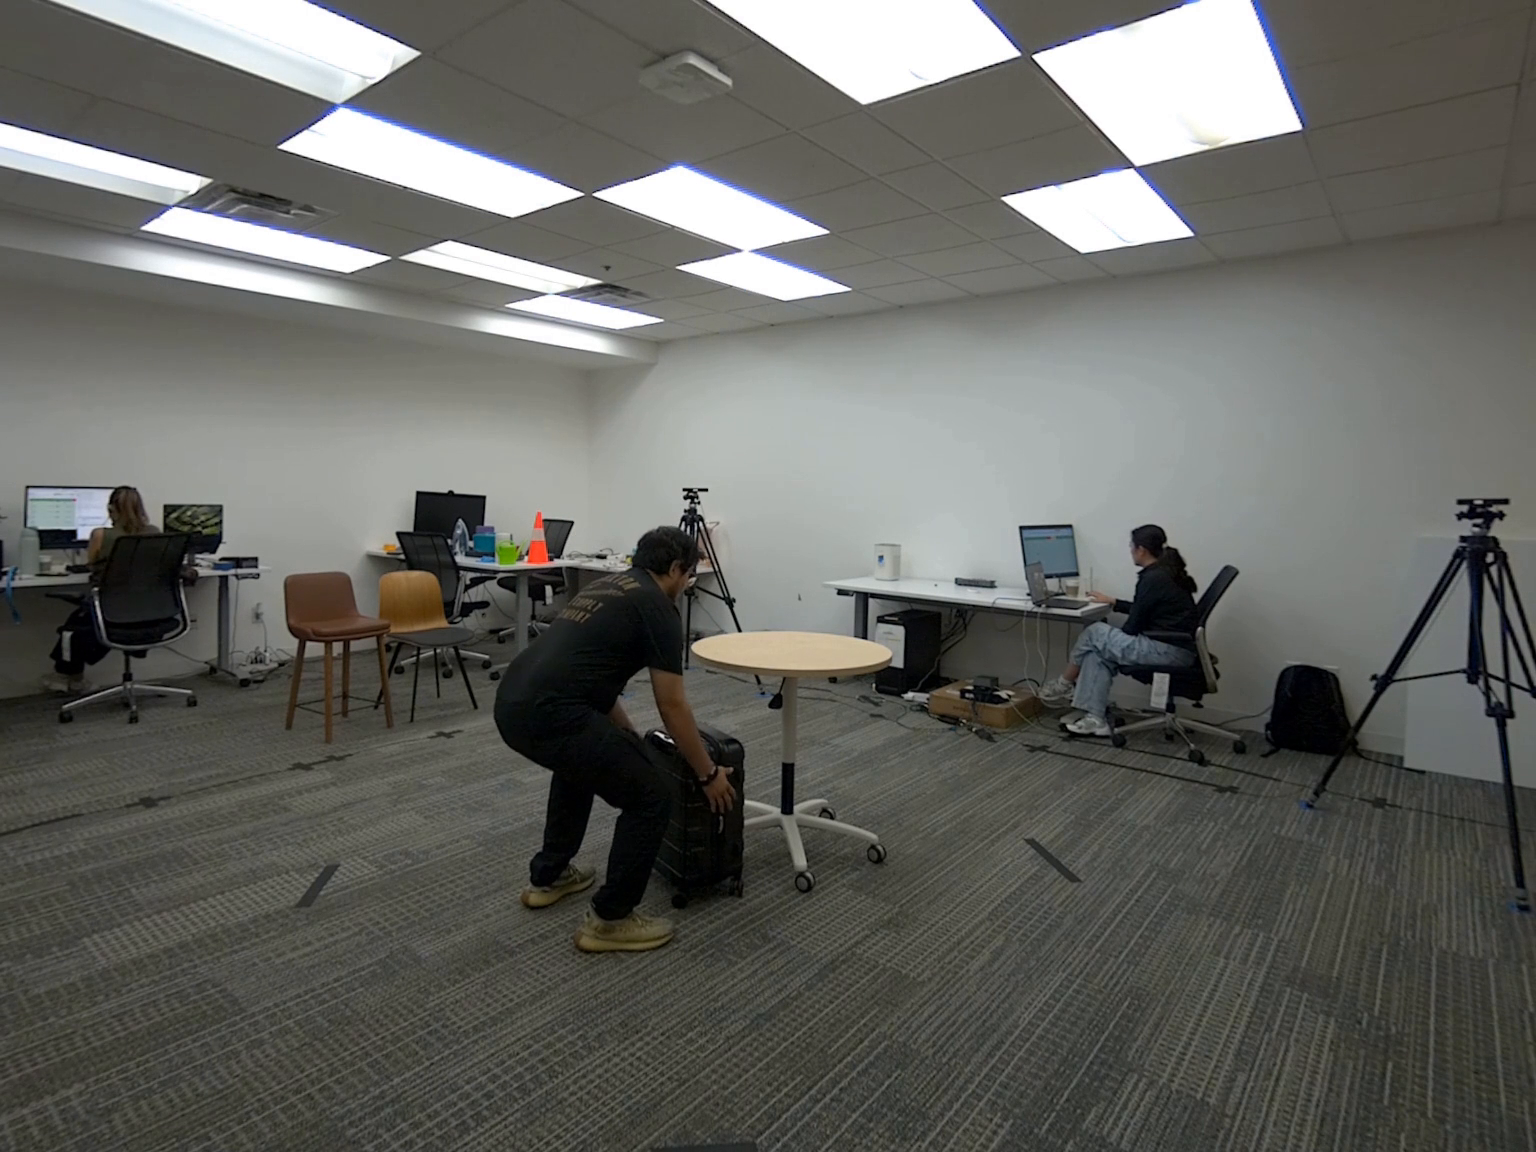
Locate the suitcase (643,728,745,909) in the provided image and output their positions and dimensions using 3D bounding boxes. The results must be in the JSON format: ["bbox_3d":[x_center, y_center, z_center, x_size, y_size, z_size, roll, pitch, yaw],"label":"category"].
[{"bbox_3d":[-0.273,0.802,2.988,0.241,0.547,0.388,-1,5,-33],"label":"suitcase"}]
